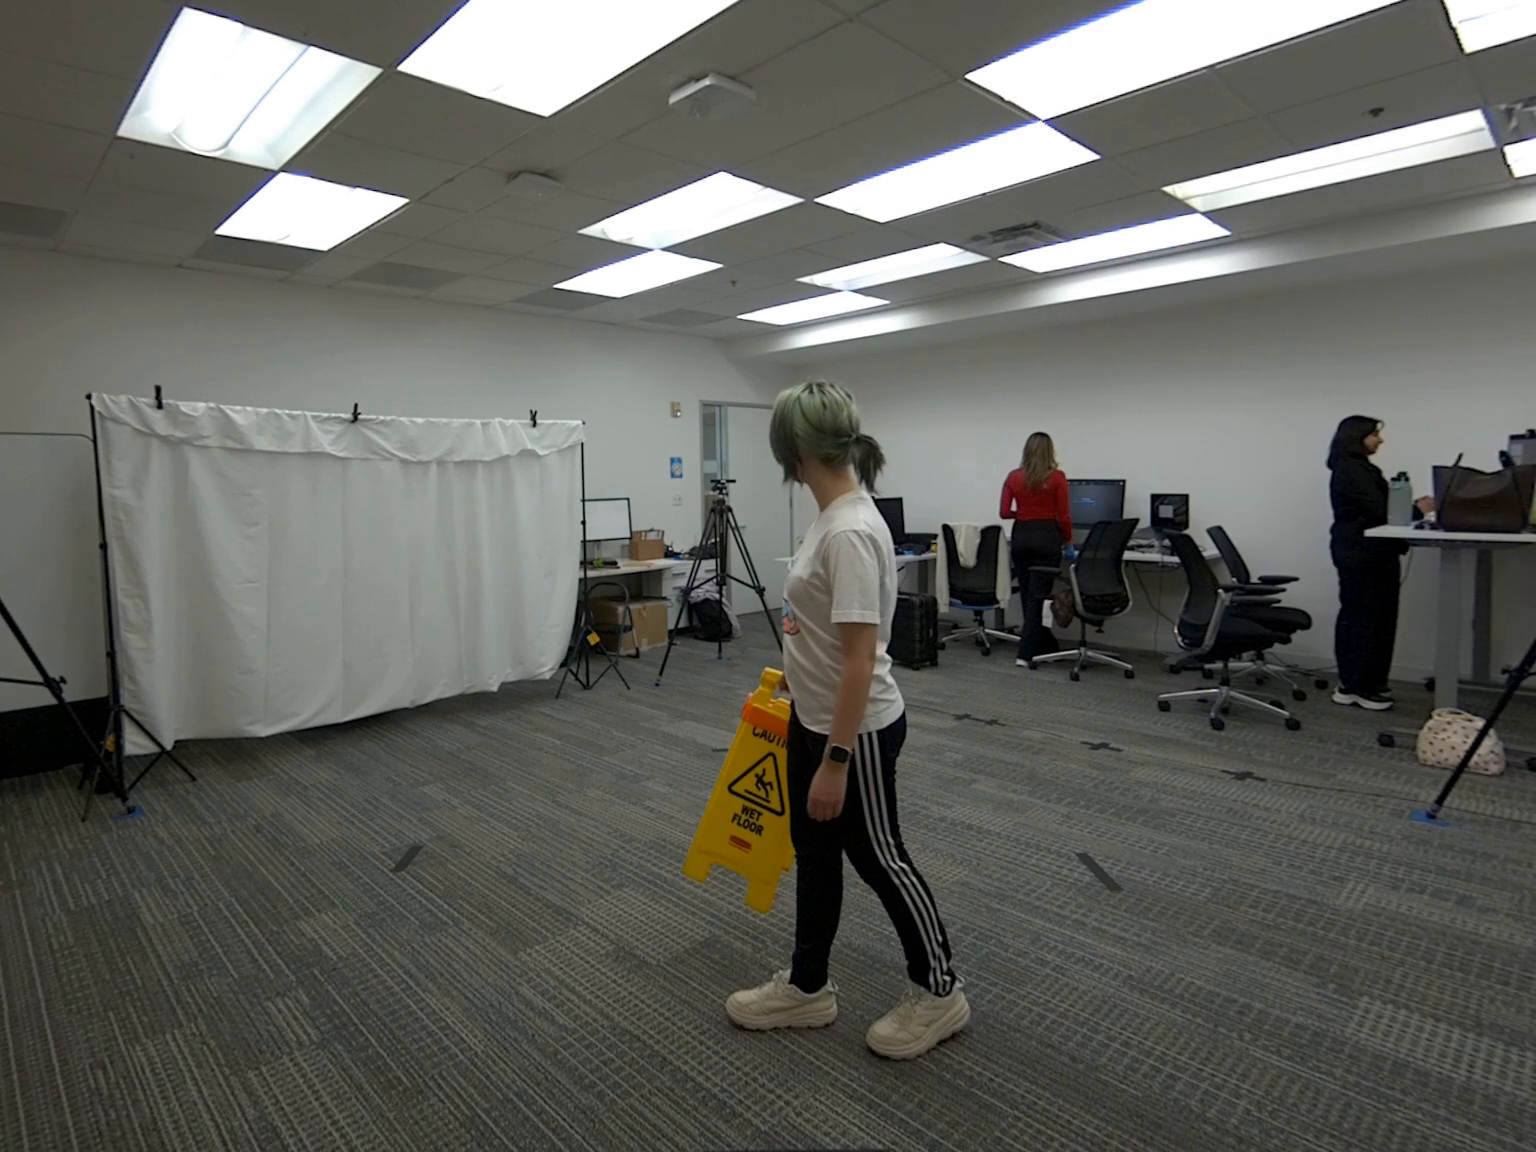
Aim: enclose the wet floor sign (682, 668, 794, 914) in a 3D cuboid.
[{"bbox_3d":[-0.001,0.599,2.486,0.287,0.640,0.287,18,14,14],"label":"wet floor sign"}]
